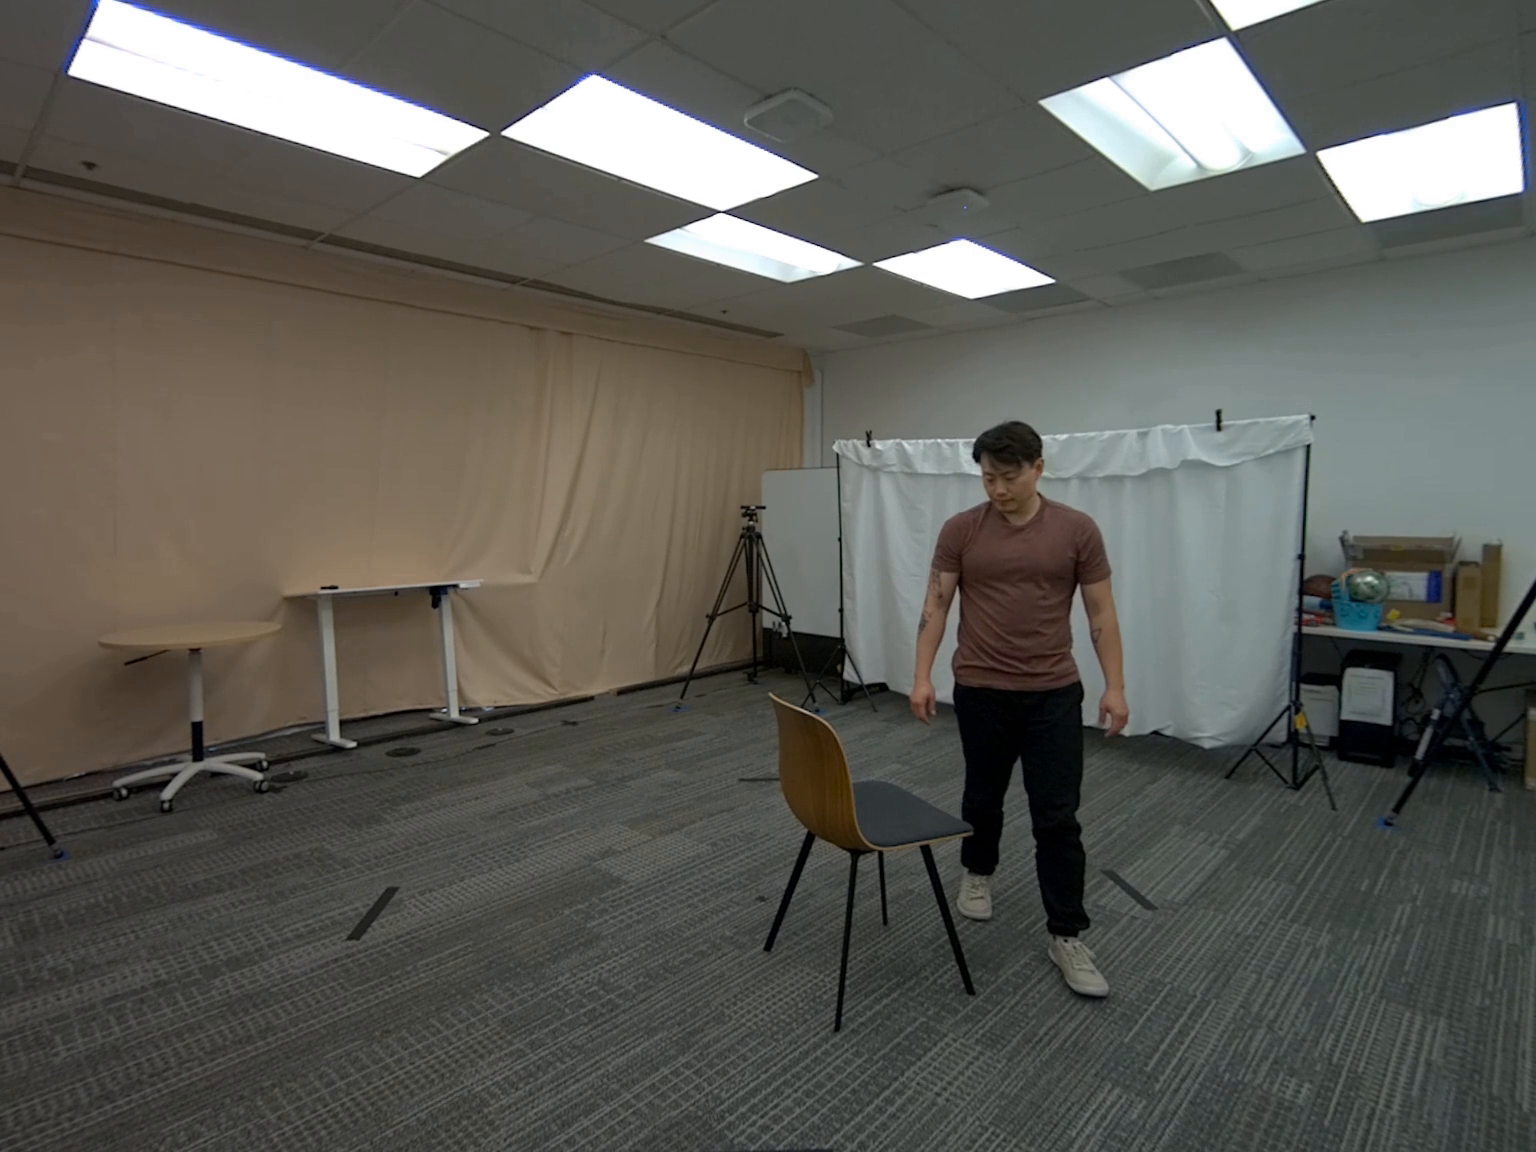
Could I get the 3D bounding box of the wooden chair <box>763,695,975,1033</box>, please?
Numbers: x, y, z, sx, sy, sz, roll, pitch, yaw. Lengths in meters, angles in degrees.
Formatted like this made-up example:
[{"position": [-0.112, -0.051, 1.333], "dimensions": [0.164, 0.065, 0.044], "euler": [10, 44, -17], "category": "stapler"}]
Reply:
[{"position": [0.303, 0.759, 2.494], "dimensions": [0.512, 0.875, 0.490], "euler": [-5, 5, -24], "category": "wooden chair"}]
